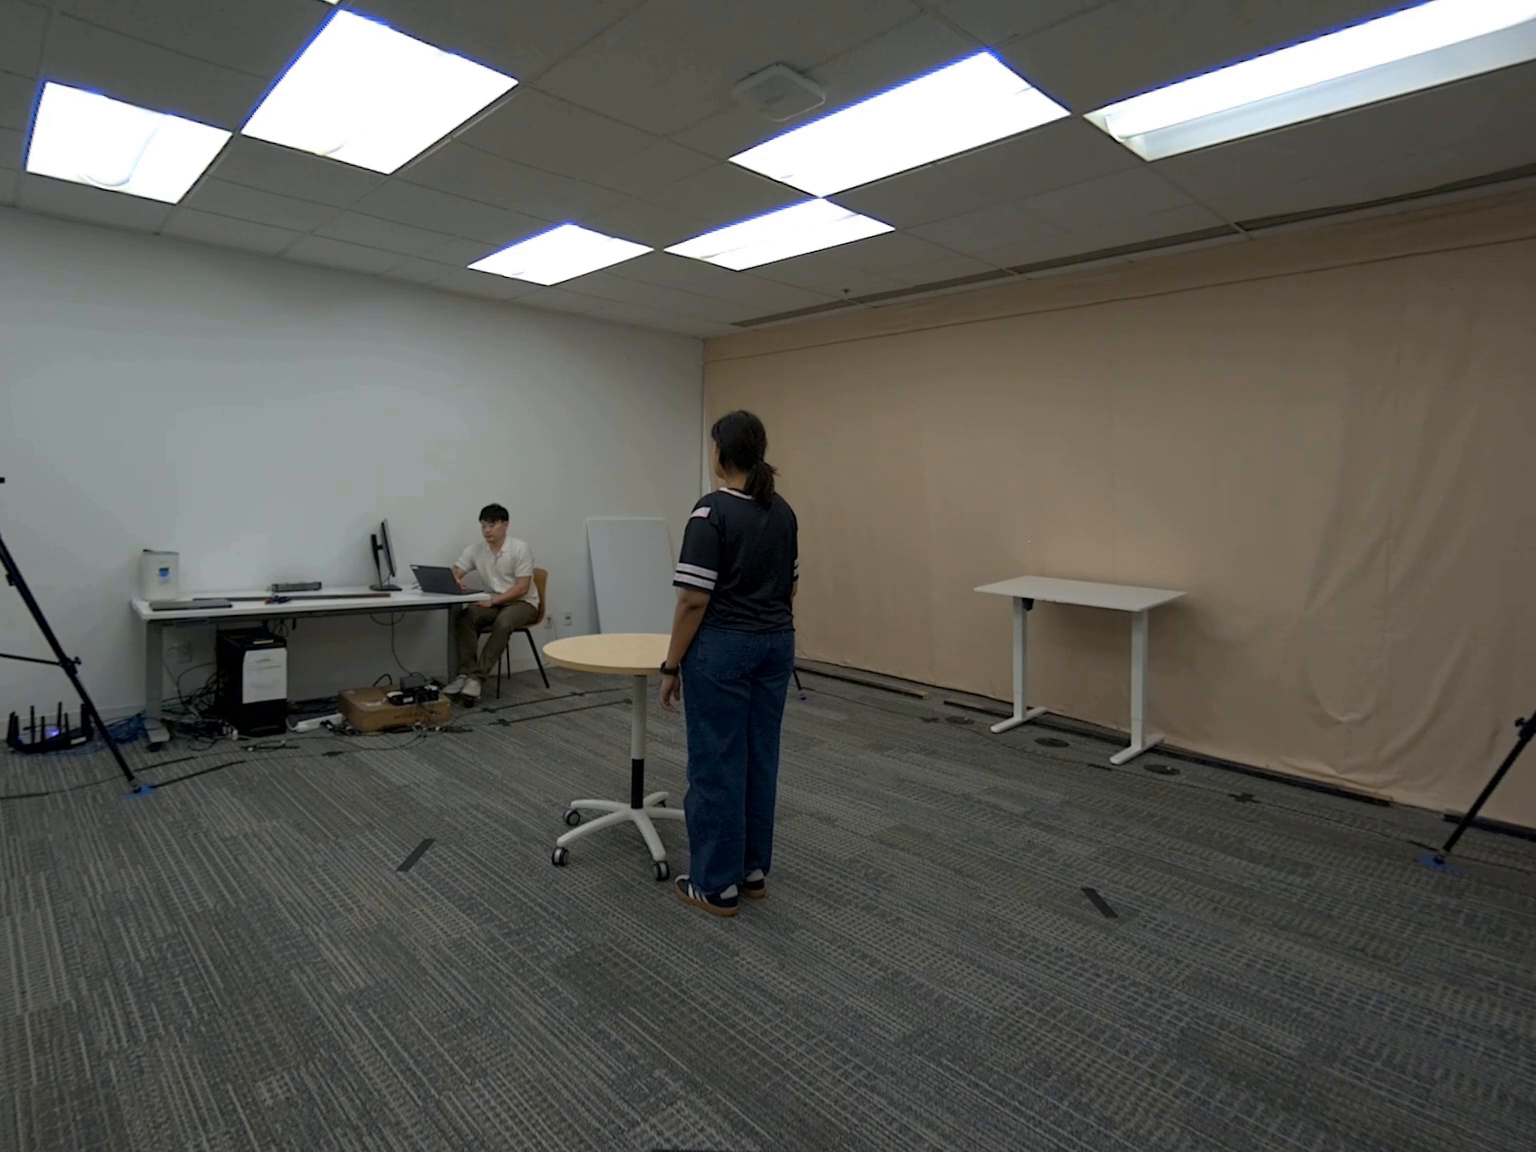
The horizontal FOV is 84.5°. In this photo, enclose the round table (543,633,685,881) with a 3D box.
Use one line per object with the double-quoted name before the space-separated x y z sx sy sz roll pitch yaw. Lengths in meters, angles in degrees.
"round table" -0.528 0.679 3.357 0.784 0.785 0.787 1 3 -1
